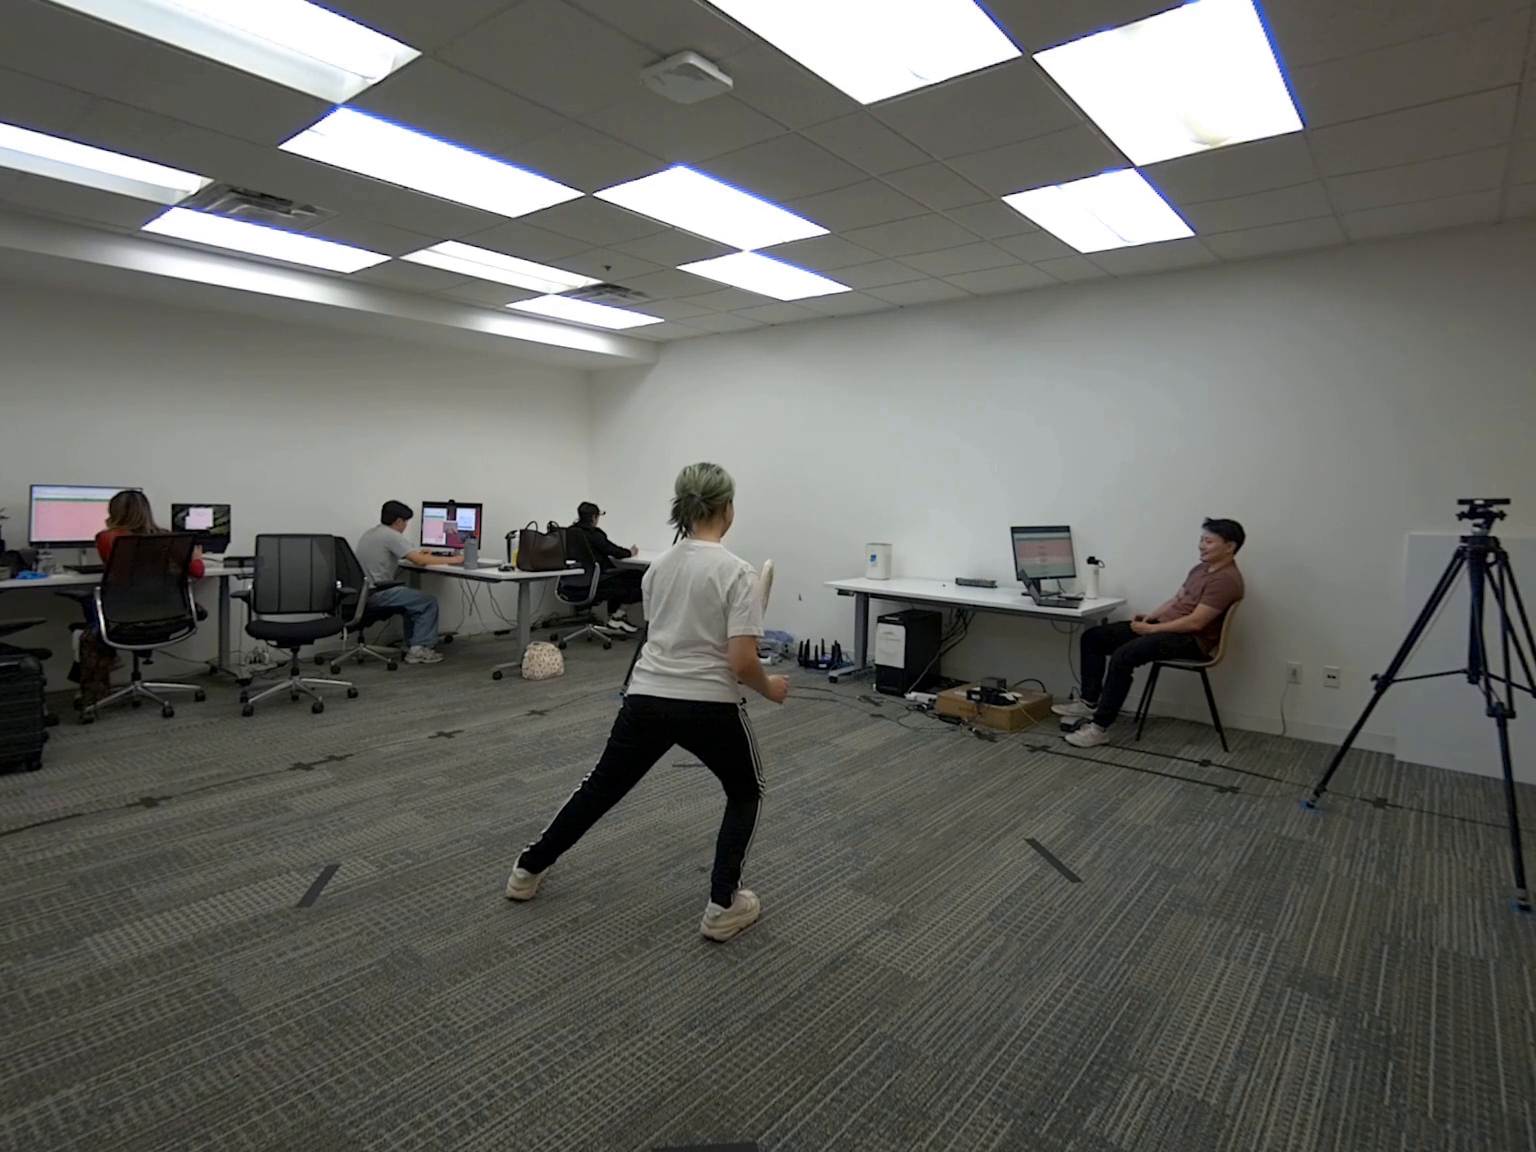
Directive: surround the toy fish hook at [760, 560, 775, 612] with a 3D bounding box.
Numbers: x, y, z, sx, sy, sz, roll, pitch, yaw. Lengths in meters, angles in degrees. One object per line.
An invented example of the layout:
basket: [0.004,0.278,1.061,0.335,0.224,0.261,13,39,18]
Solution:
toy fish hook: [-0.050,0.170,3.140,0.049,0.515,0.217,6,-28,10]
